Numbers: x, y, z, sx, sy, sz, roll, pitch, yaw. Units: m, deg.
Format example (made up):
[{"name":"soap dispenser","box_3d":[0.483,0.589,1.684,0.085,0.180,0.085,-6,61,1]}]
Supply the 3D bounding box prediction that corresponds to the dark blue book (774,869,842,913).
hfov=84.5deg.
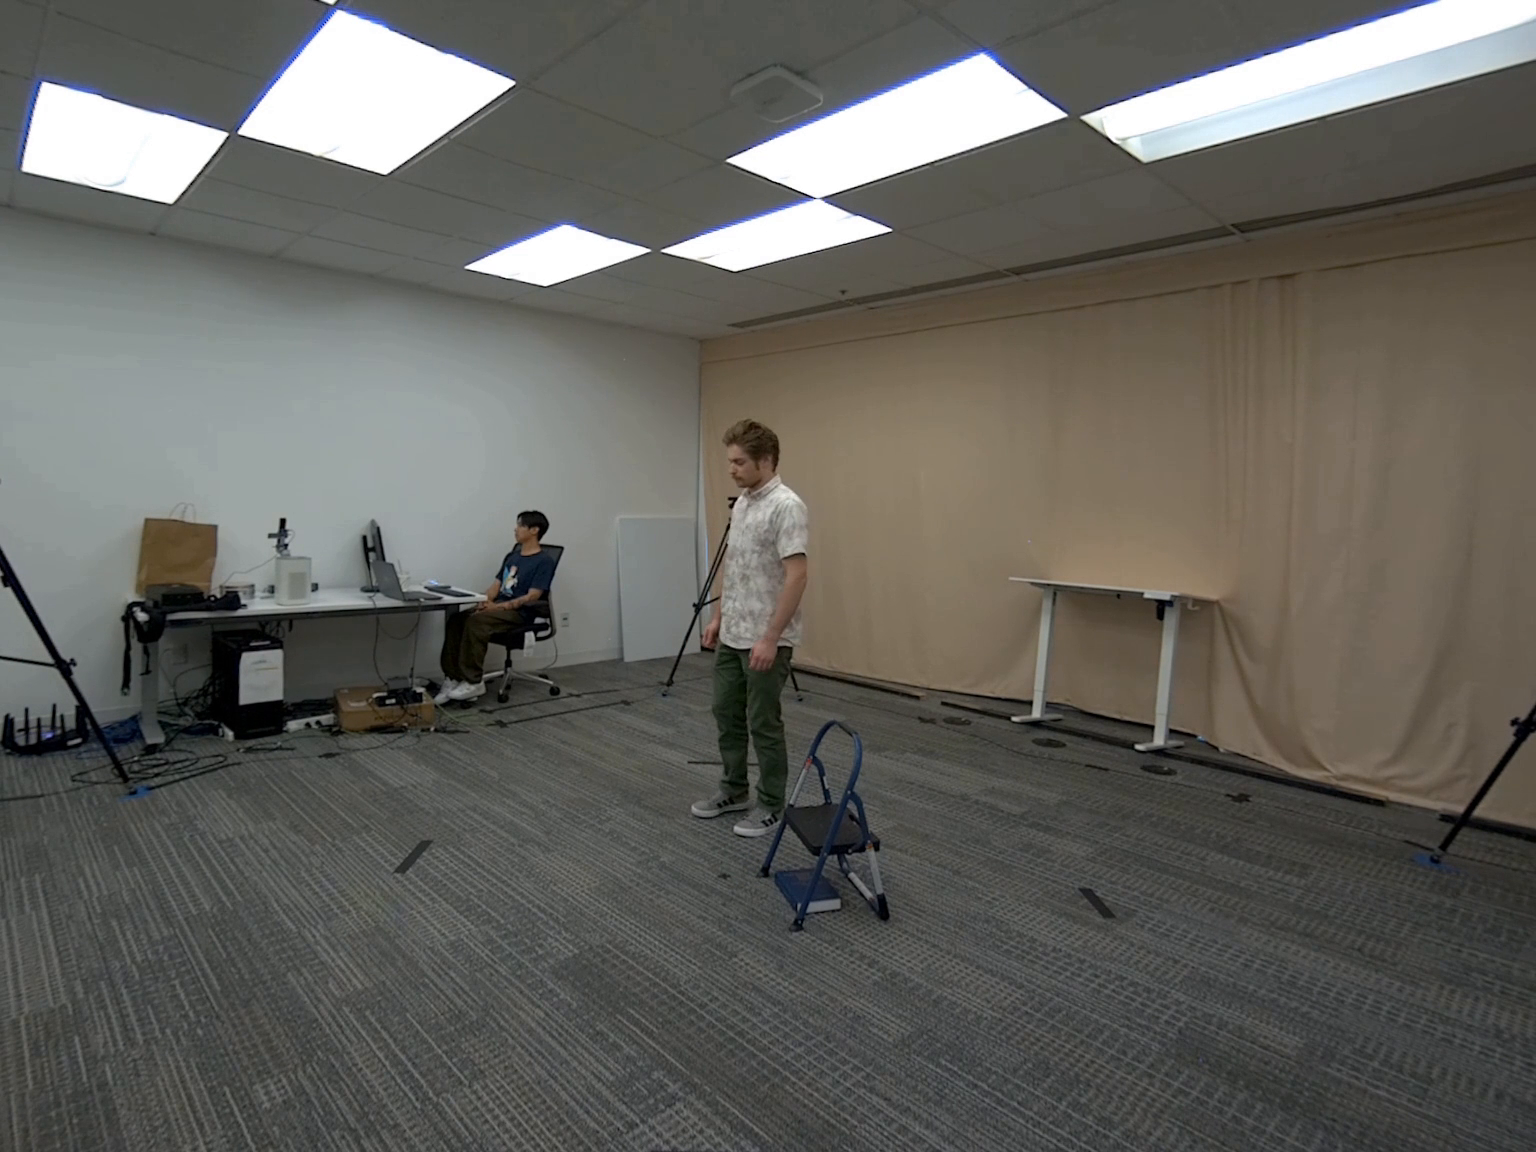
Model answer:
[{"name":"dark blue book","box_3d":[0.138,1.102,2.950,0.161,0.045,0.249,0,3,-17]}]
